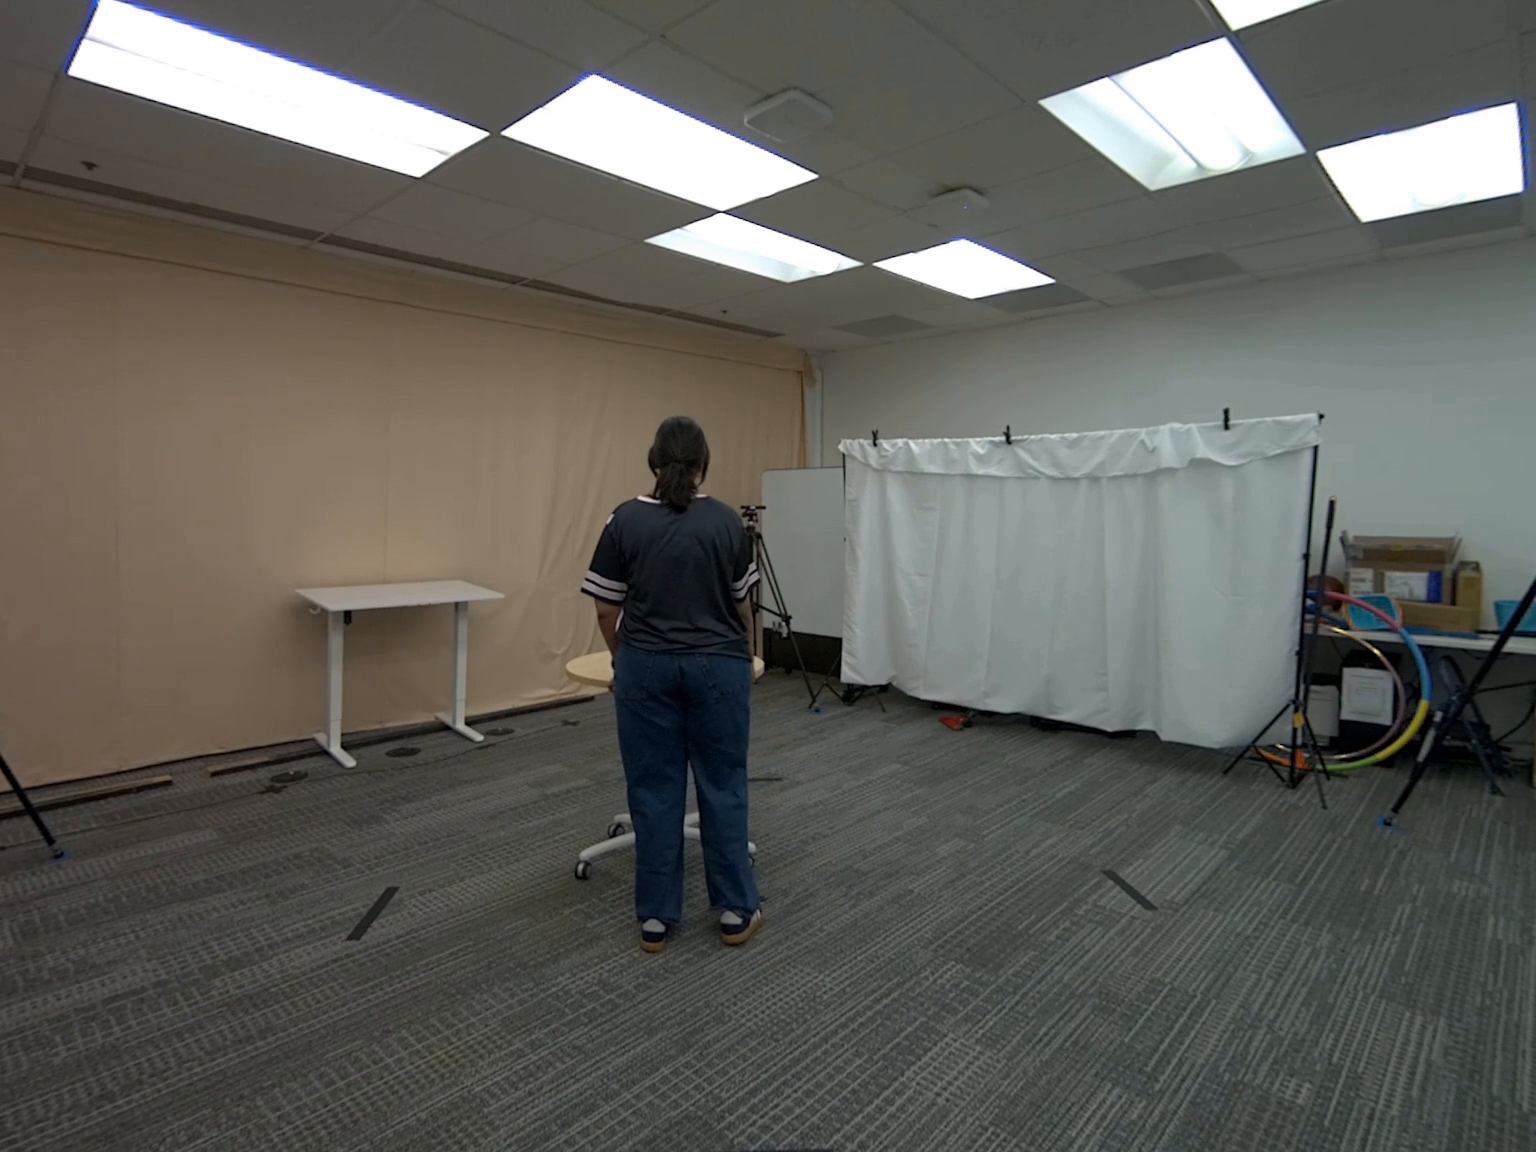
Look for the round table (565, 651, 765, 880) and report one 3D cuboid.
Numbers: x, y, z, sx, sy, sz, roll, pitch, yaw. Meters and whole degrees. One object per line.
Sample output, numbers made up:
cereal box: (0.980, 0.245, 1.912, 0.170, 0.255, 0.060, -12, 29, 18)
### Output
round table: (-0.402, 0.729, 3.276, 0.784, 0.785, 0.787, -1, 3, -2)
